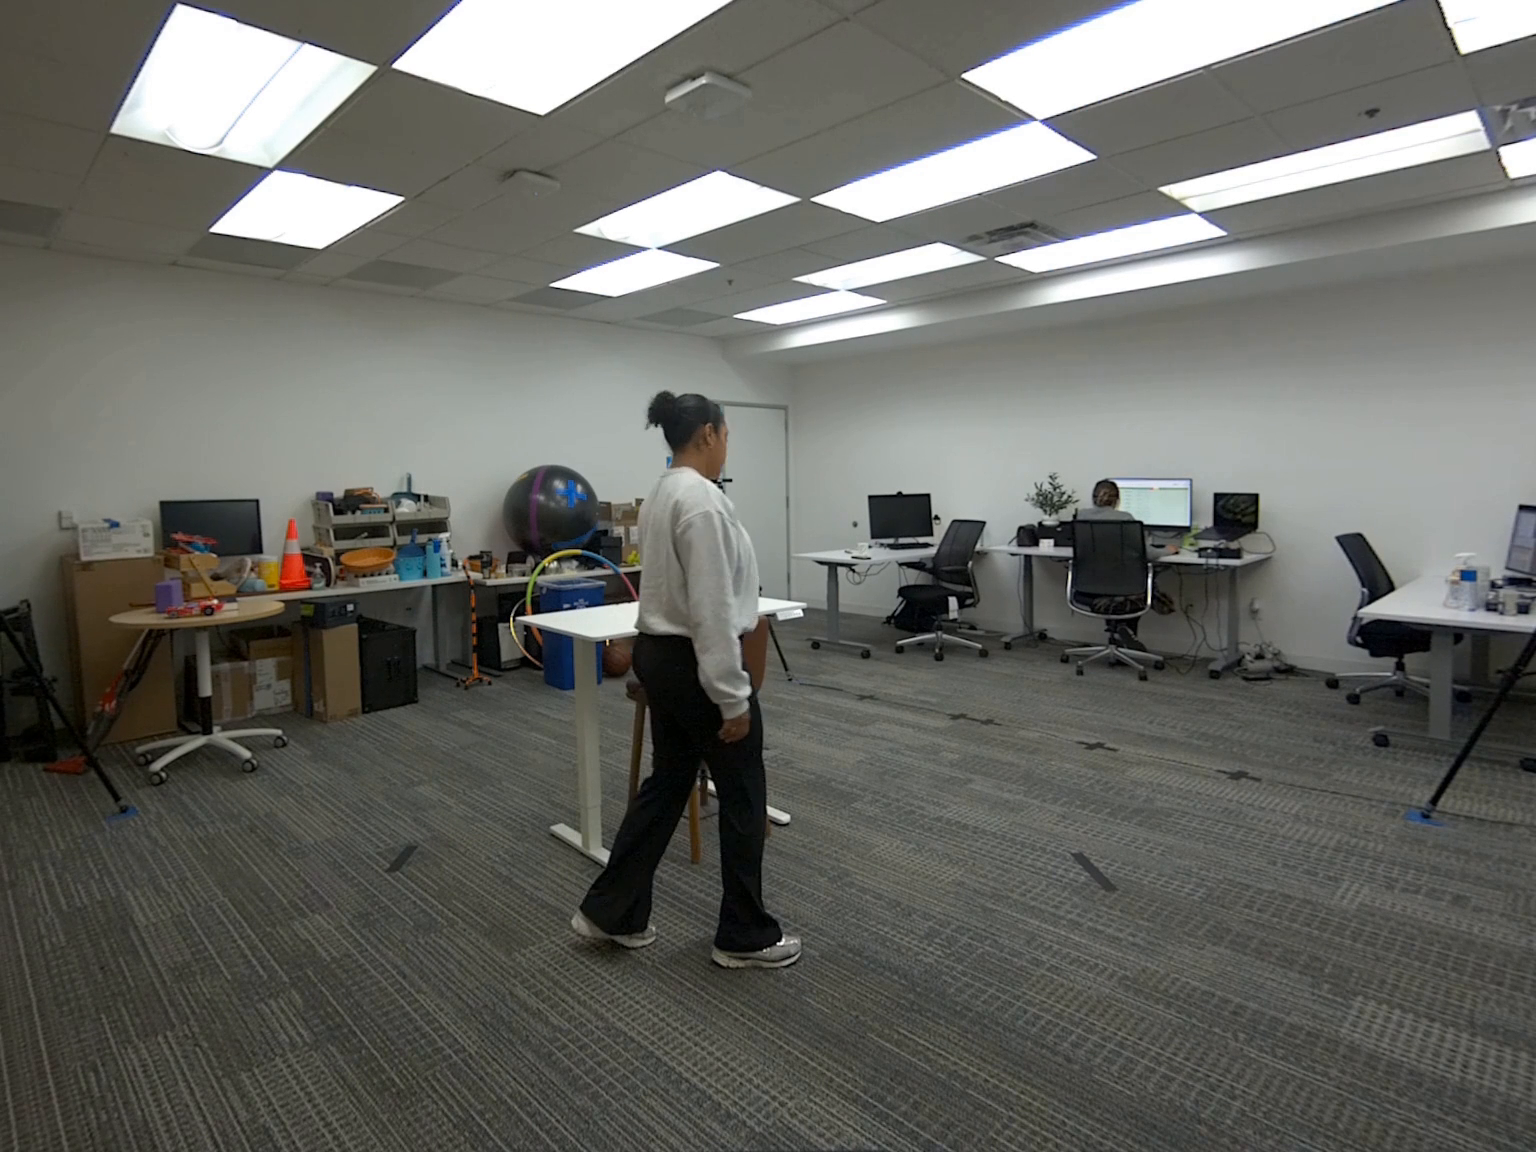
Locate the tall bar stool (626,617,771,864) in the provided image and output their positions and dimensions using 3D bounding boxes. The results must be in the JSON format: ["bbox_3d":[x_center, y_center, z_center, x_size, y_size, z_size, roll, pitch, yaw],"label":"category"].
[{"bbox_3d":[-0.274,0.589,3.365,0.444,0.885,0.482,-4,7,-41],"label":"tall bar stool"}]
